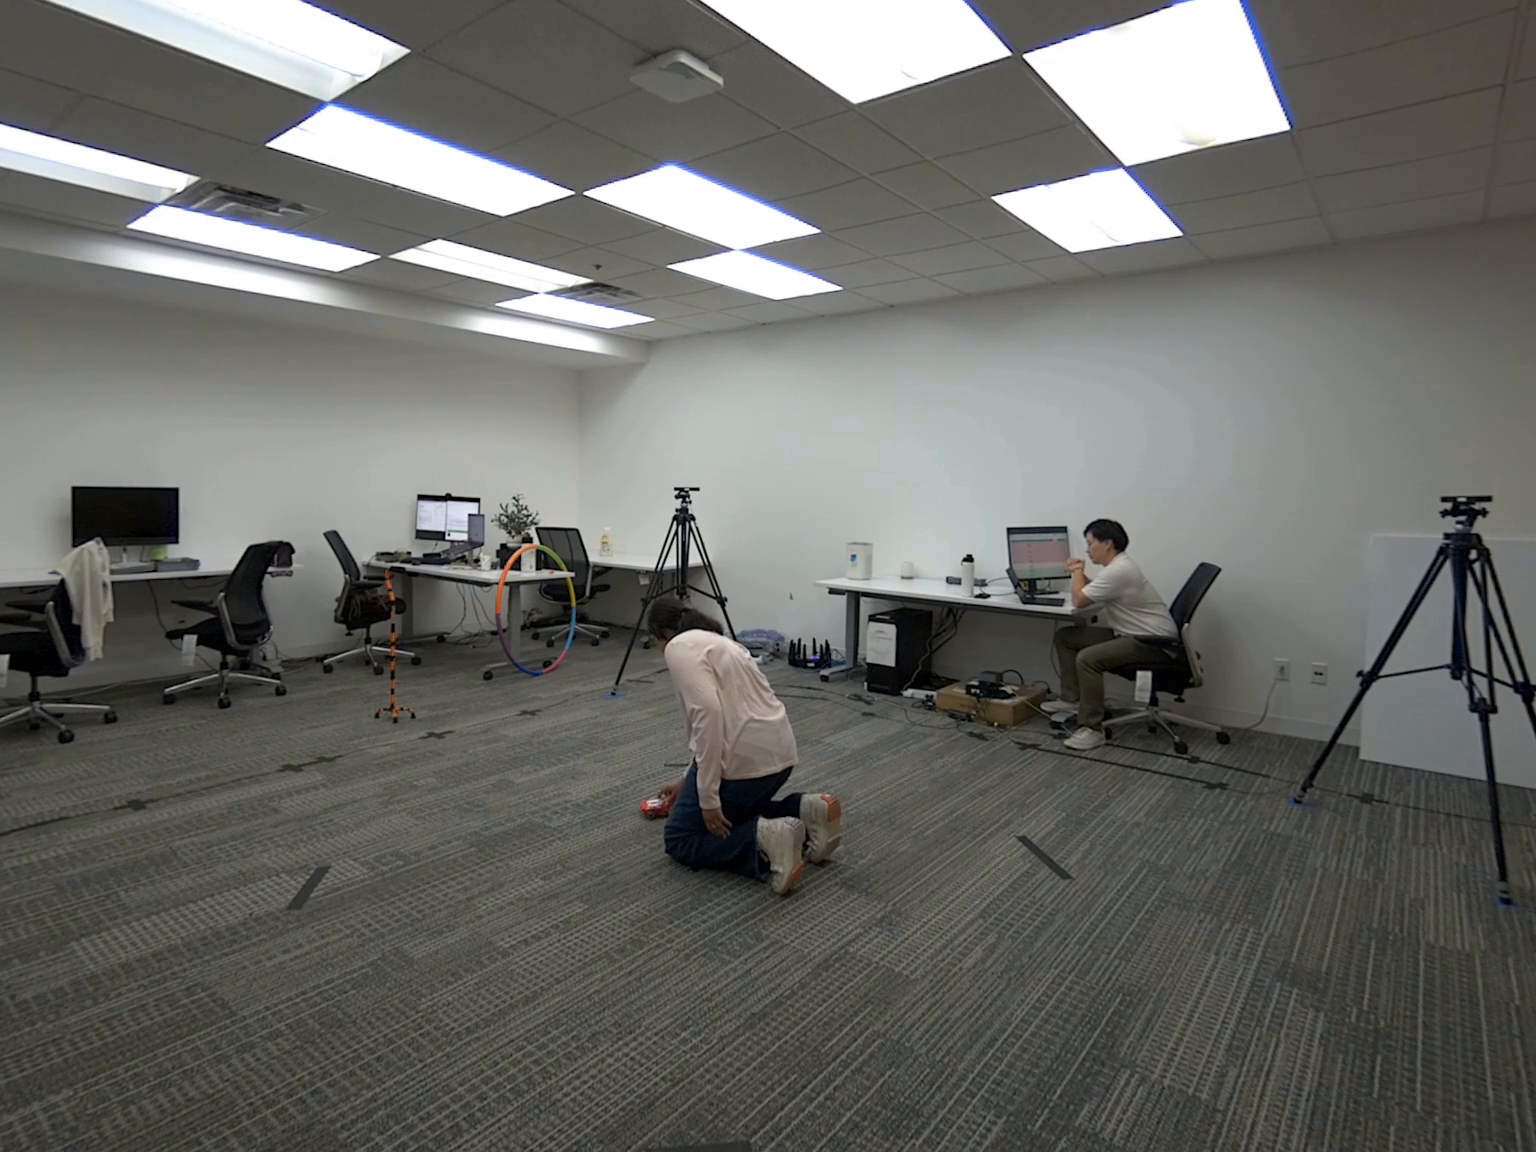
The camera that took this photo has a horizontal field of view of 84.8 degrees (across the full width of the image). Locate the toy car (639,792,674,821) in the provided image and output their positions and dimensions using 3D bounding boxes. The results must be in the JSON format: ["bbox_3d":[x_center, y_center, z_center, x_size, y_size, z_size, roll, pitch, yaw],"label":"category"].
[{"bbox_3d":[-0.428,0.980,3.636,0.251,0.083,0.133,-12,7,-14],"label":"toy car"}]
